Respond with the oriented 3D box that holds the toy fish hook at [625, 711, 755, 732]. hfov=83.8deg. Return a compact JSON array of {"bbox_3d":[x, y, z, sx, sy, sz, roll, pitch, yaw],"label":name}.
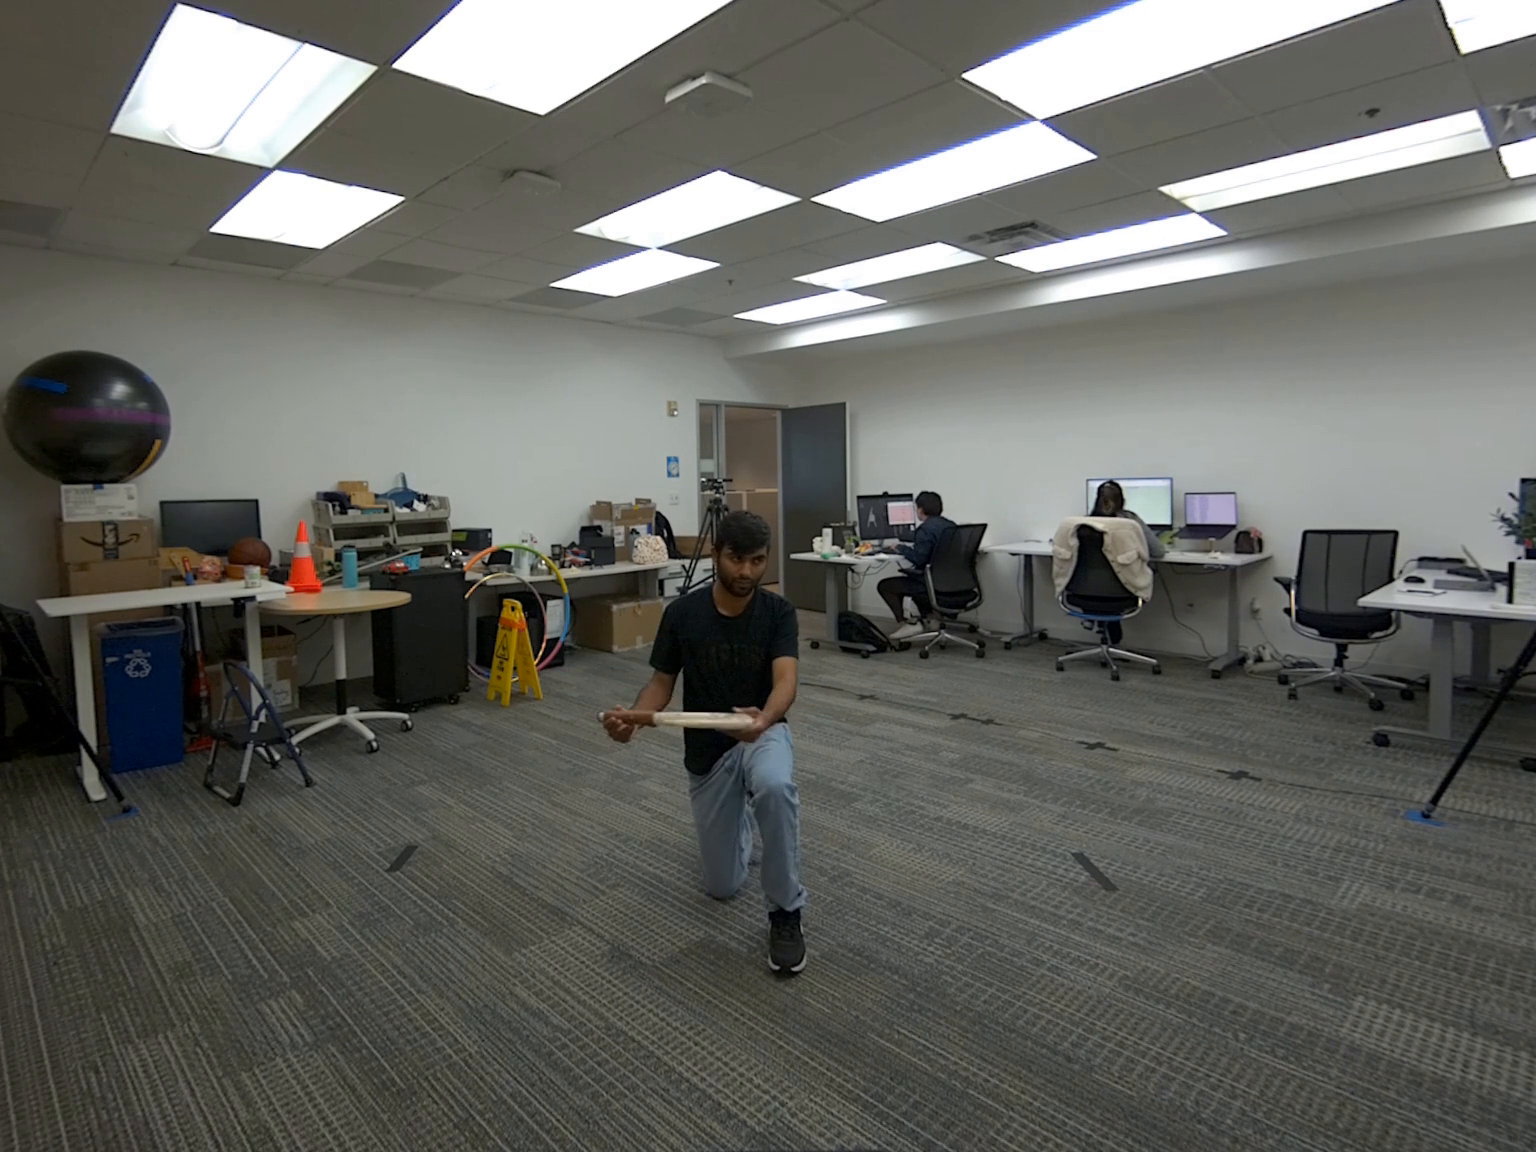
[{"bbox_3d":[-0.282,0.386,2.333,0.518,0.049,0.217,-4,-14,27],"label":"toy fish hook"}]
